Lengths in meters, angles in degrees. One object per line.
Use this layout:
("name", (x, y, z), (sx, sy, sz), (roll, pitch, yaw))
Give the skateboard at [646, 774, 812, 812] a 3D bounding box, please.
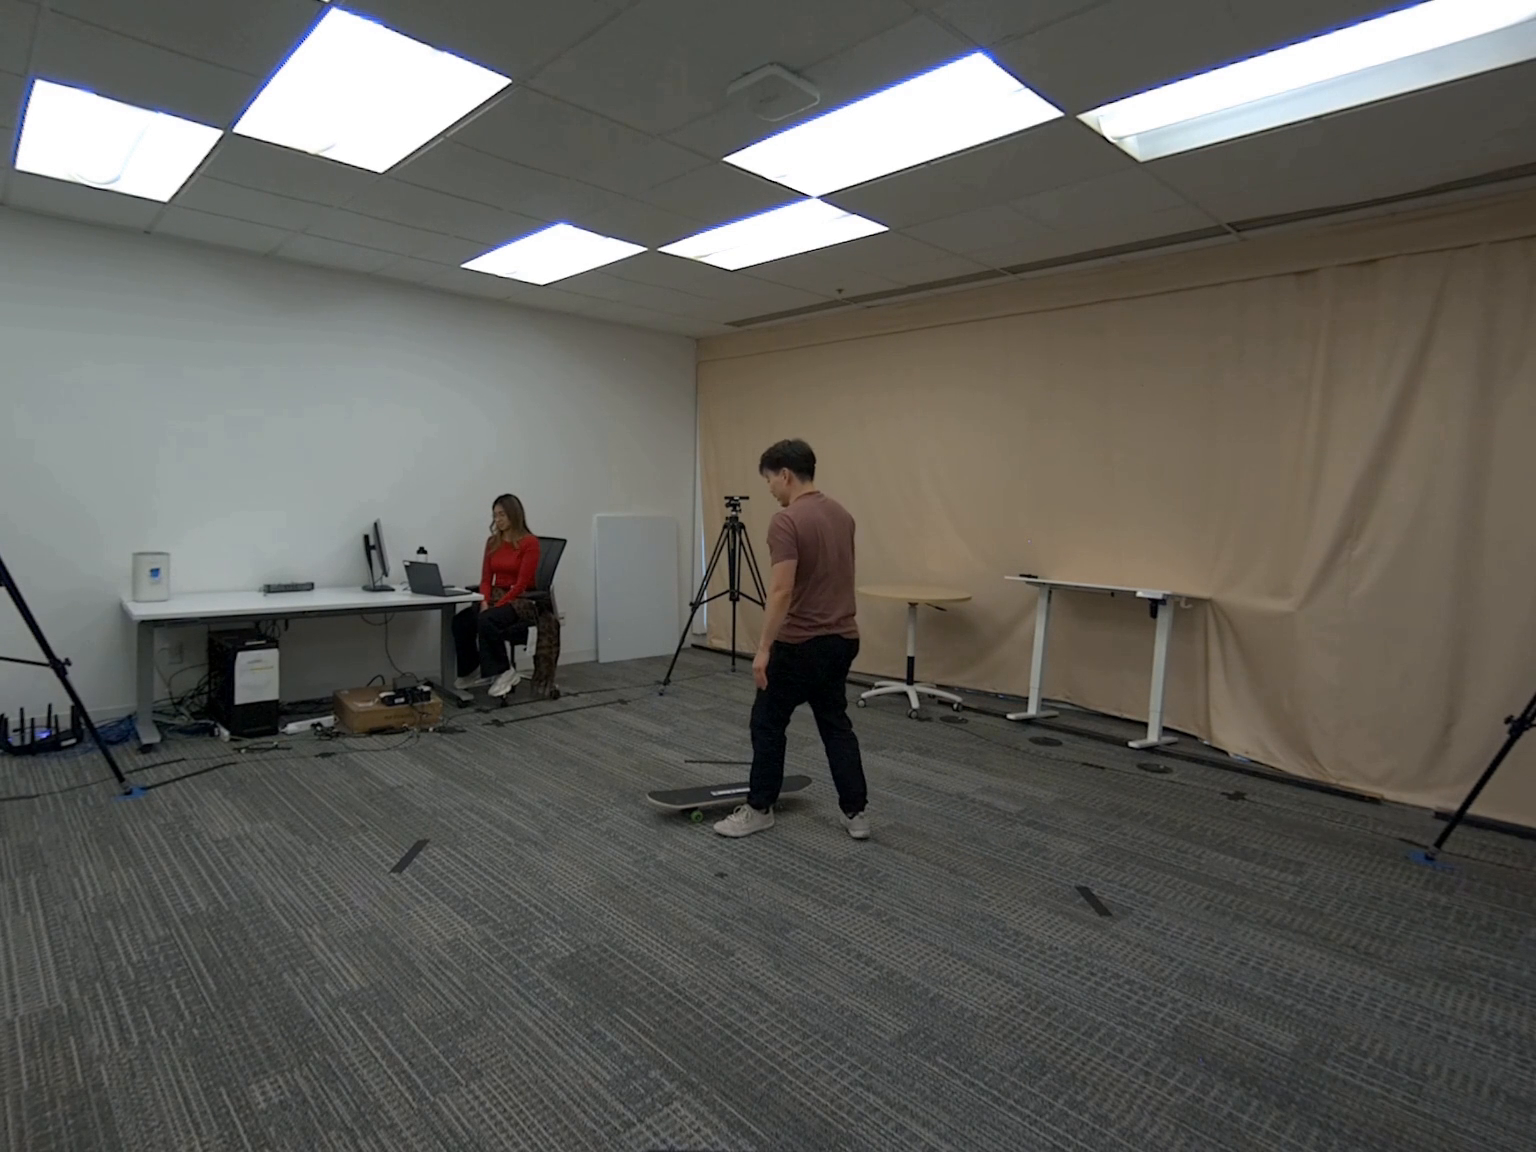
("skateboard", (-0.168, 0.985, 3.750), (0.772, 0.110, 0.197), (-1, 5, -24))
